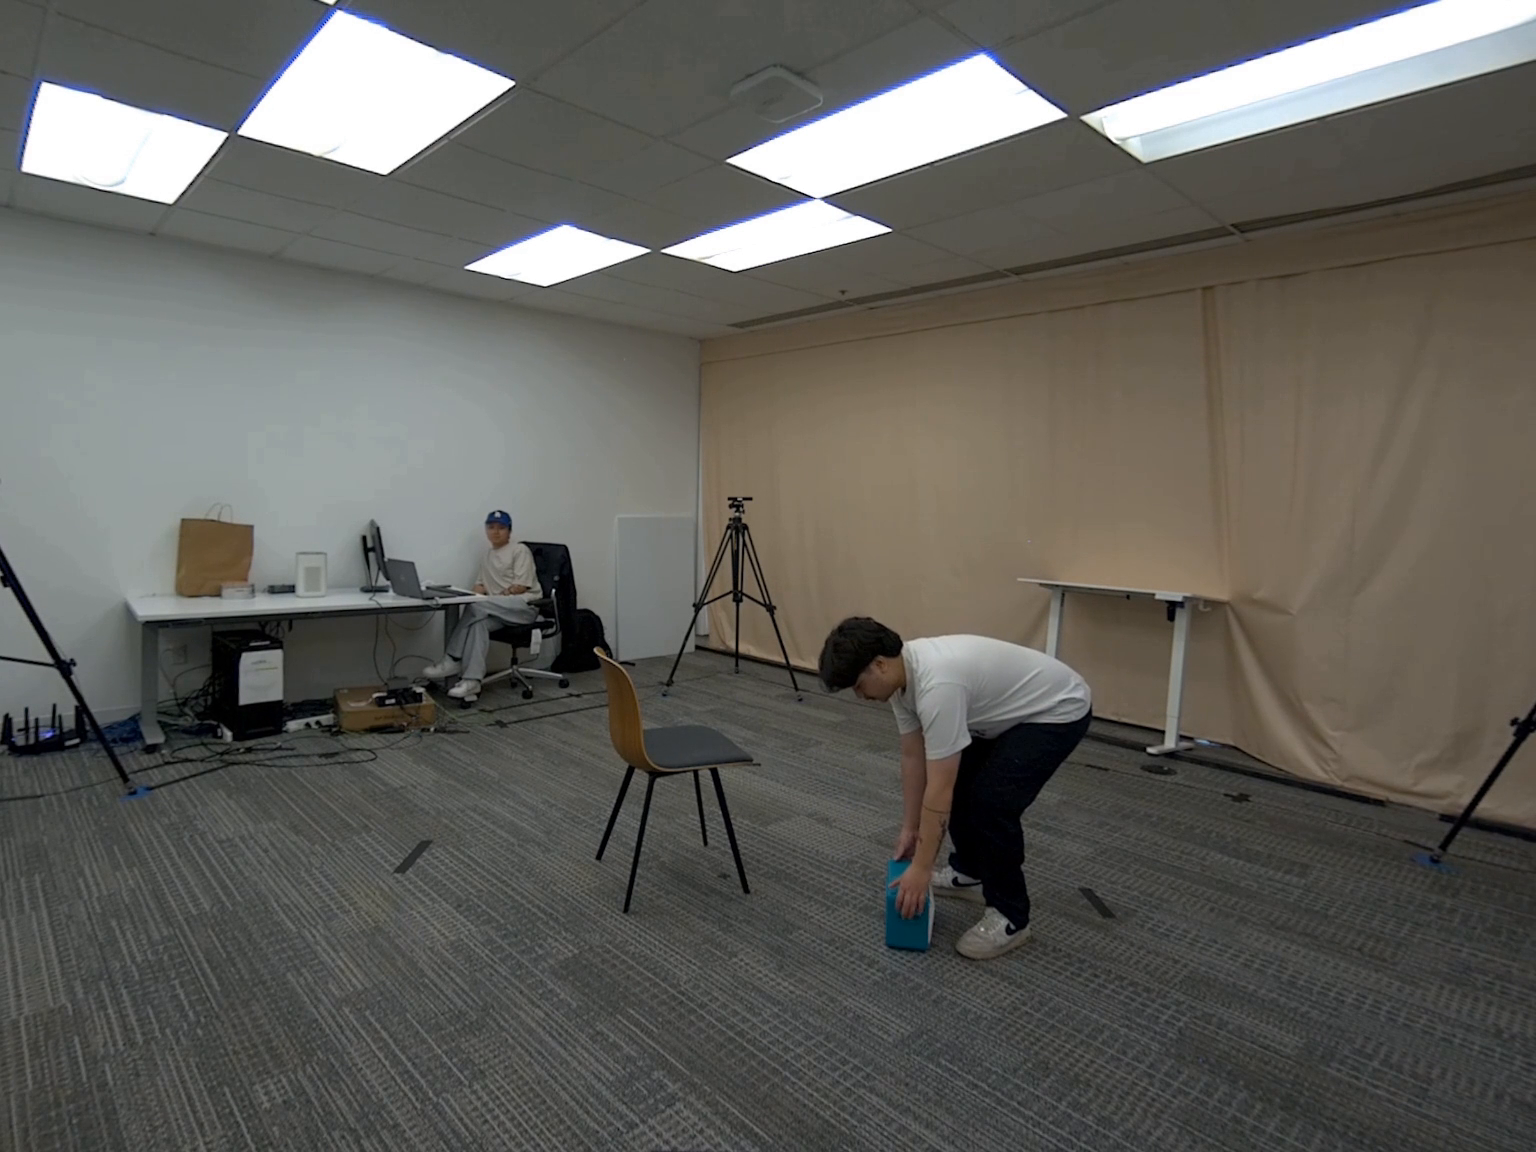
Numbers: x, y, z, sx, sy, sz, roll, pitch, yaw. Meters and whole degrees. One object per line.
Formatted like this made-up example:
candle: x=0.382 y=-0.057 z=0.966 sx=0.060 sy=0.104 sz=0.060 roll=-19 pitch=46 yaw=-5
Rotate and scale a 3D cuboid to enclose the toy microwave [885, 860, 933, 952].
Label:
toy microwave: x=0.450 y=1.065 z=2.735 sx=0.153 sy=0.183 sz=0.285 roll=-1 pitch=4 yaw=9
